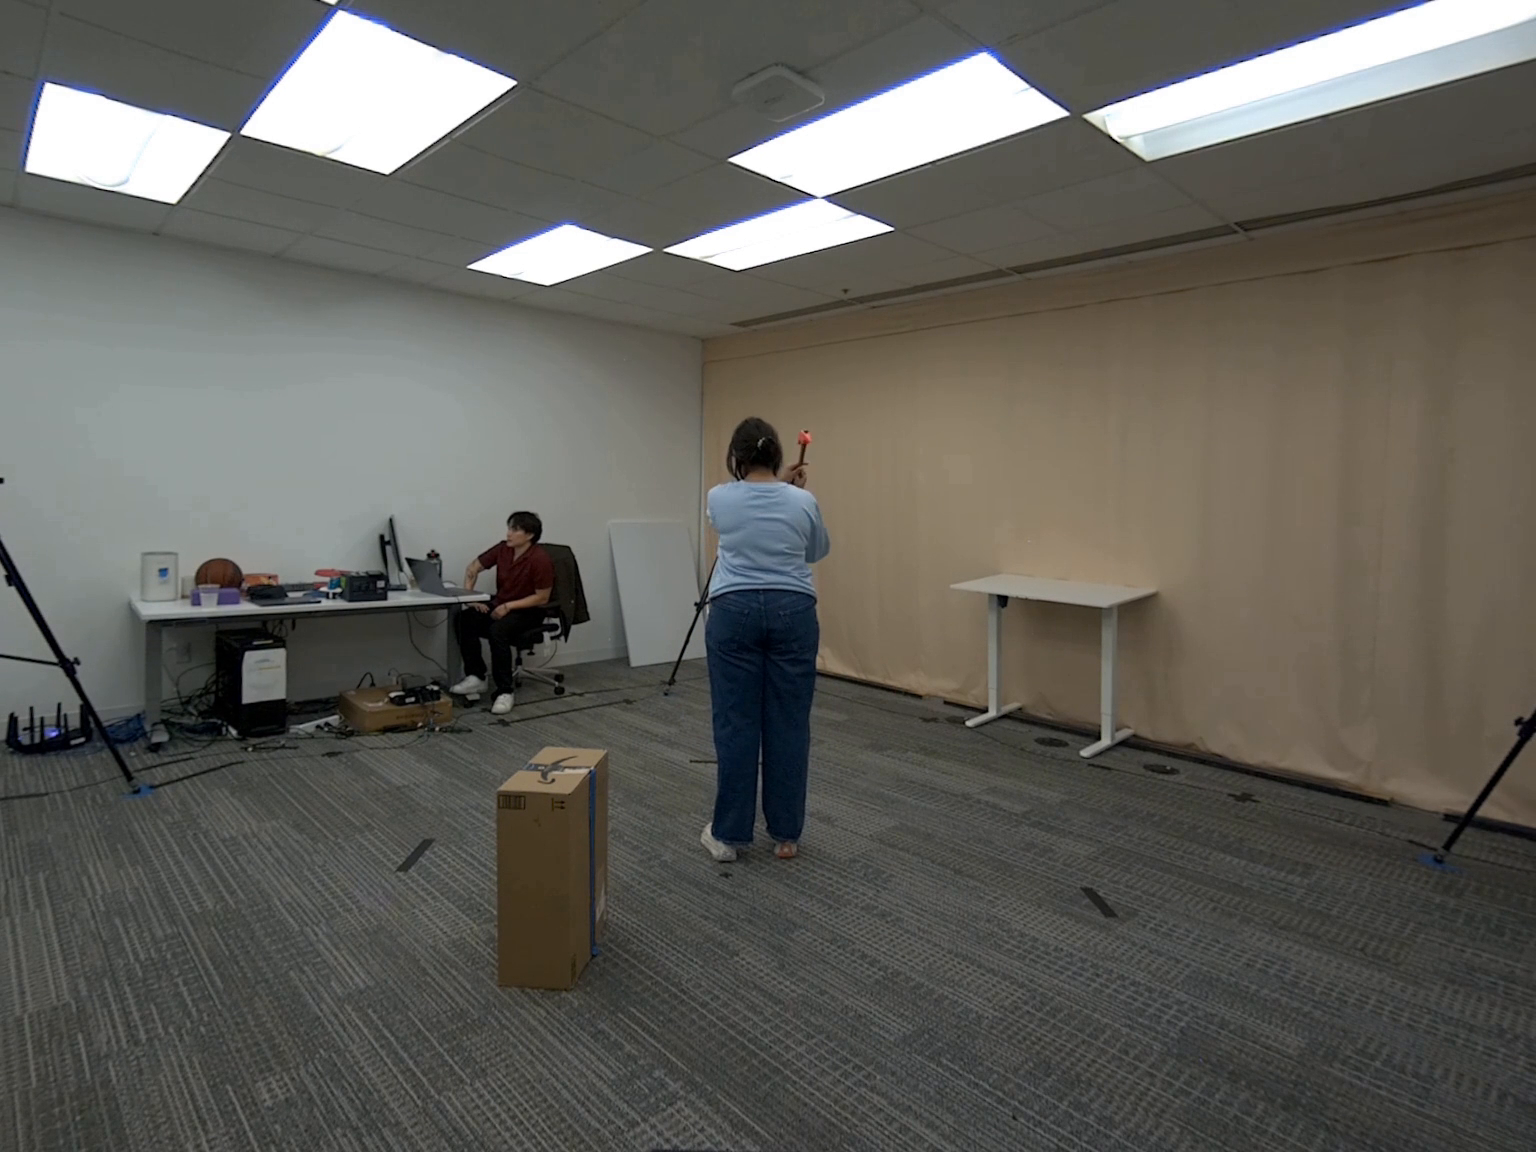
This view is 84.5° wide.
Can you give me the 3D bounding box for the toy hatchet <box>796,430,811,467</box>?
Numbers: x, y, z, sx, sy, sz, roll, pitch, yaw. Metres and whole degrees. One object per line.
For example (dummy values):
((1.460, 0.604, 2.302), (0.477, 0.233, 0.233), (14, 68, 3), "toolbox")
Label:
((0.114, -0.490, 3.509), (0.029, 0.266, 0.134), (1, 45, -16), "toy hatchet")
